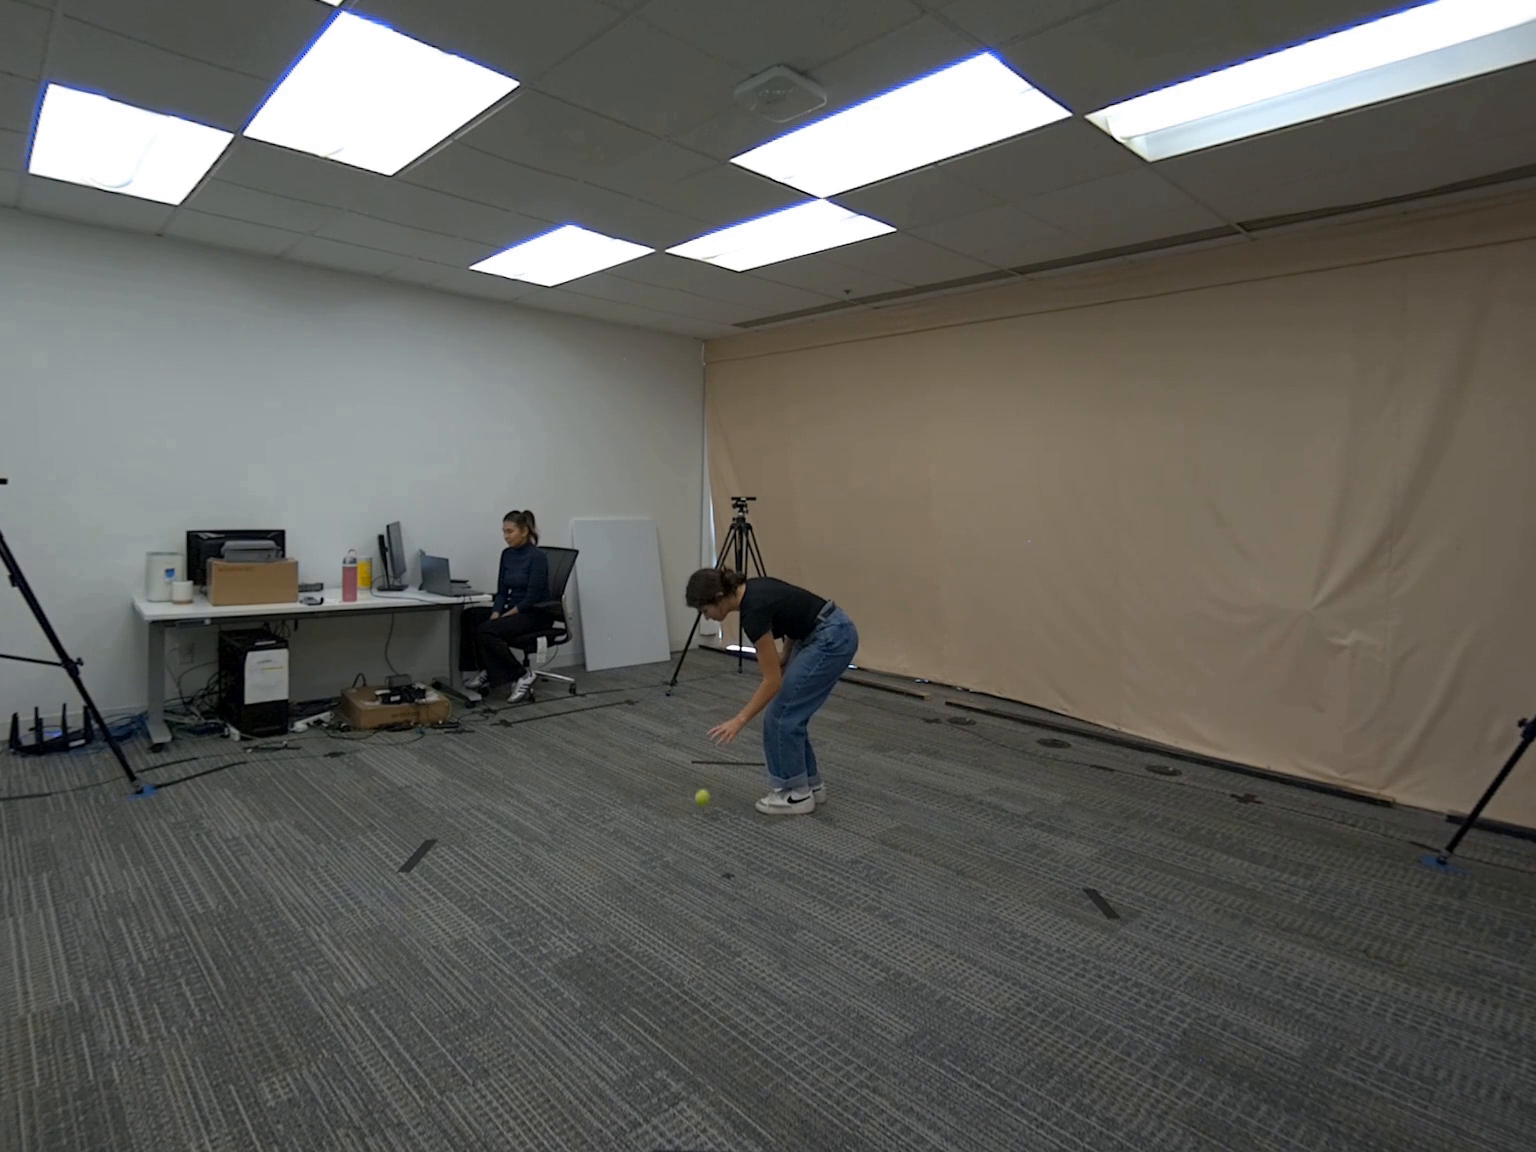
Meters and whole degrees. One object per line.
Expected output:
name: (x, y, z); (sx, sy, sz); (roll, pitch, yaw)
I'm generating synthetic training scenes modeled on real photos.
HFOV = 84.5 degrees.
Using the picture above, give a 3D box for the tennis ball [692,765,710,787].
tennis ball: (-0.290, 0.857, 3.635); (0.066, 0.066, 0.067); (1, 4, -1)
